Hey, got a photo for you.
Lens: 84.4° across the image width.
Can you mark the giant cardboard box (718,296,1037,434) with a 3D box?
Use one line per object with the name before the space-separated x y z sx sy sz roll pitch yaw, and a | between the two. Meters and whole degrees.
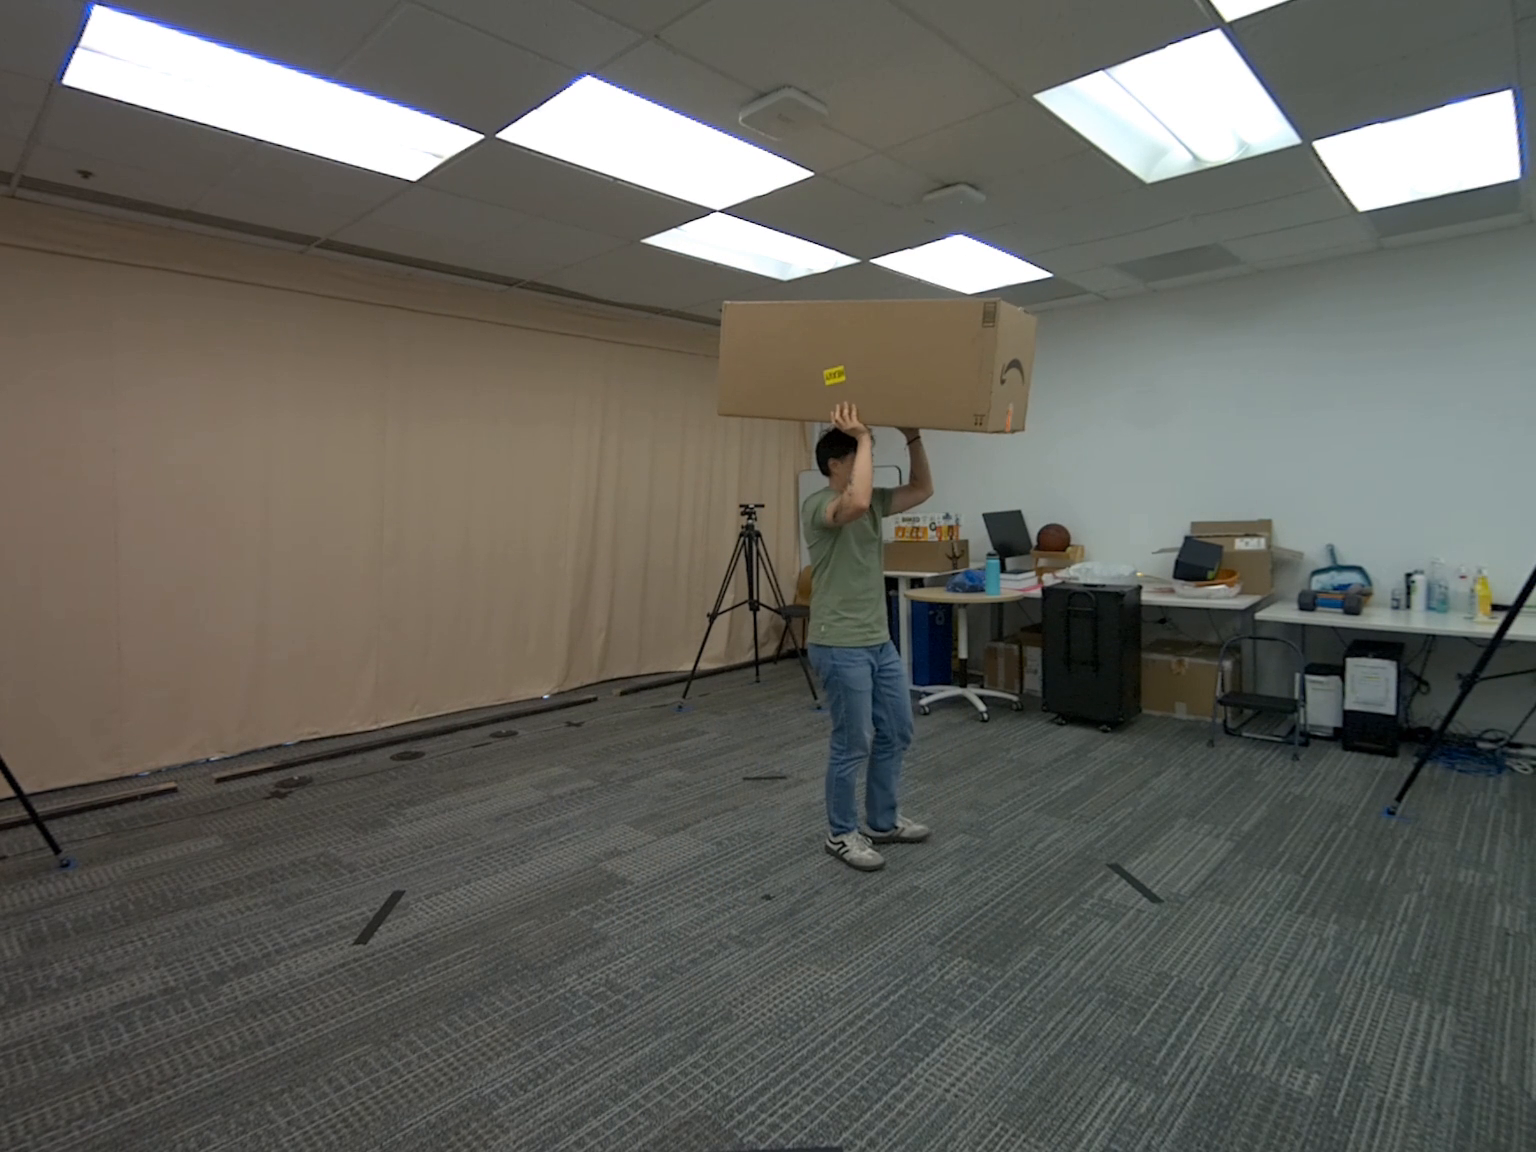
giant cardboard box | 0.404 -0.781 3.173 1.057 0.423 0.564 10 13 29
